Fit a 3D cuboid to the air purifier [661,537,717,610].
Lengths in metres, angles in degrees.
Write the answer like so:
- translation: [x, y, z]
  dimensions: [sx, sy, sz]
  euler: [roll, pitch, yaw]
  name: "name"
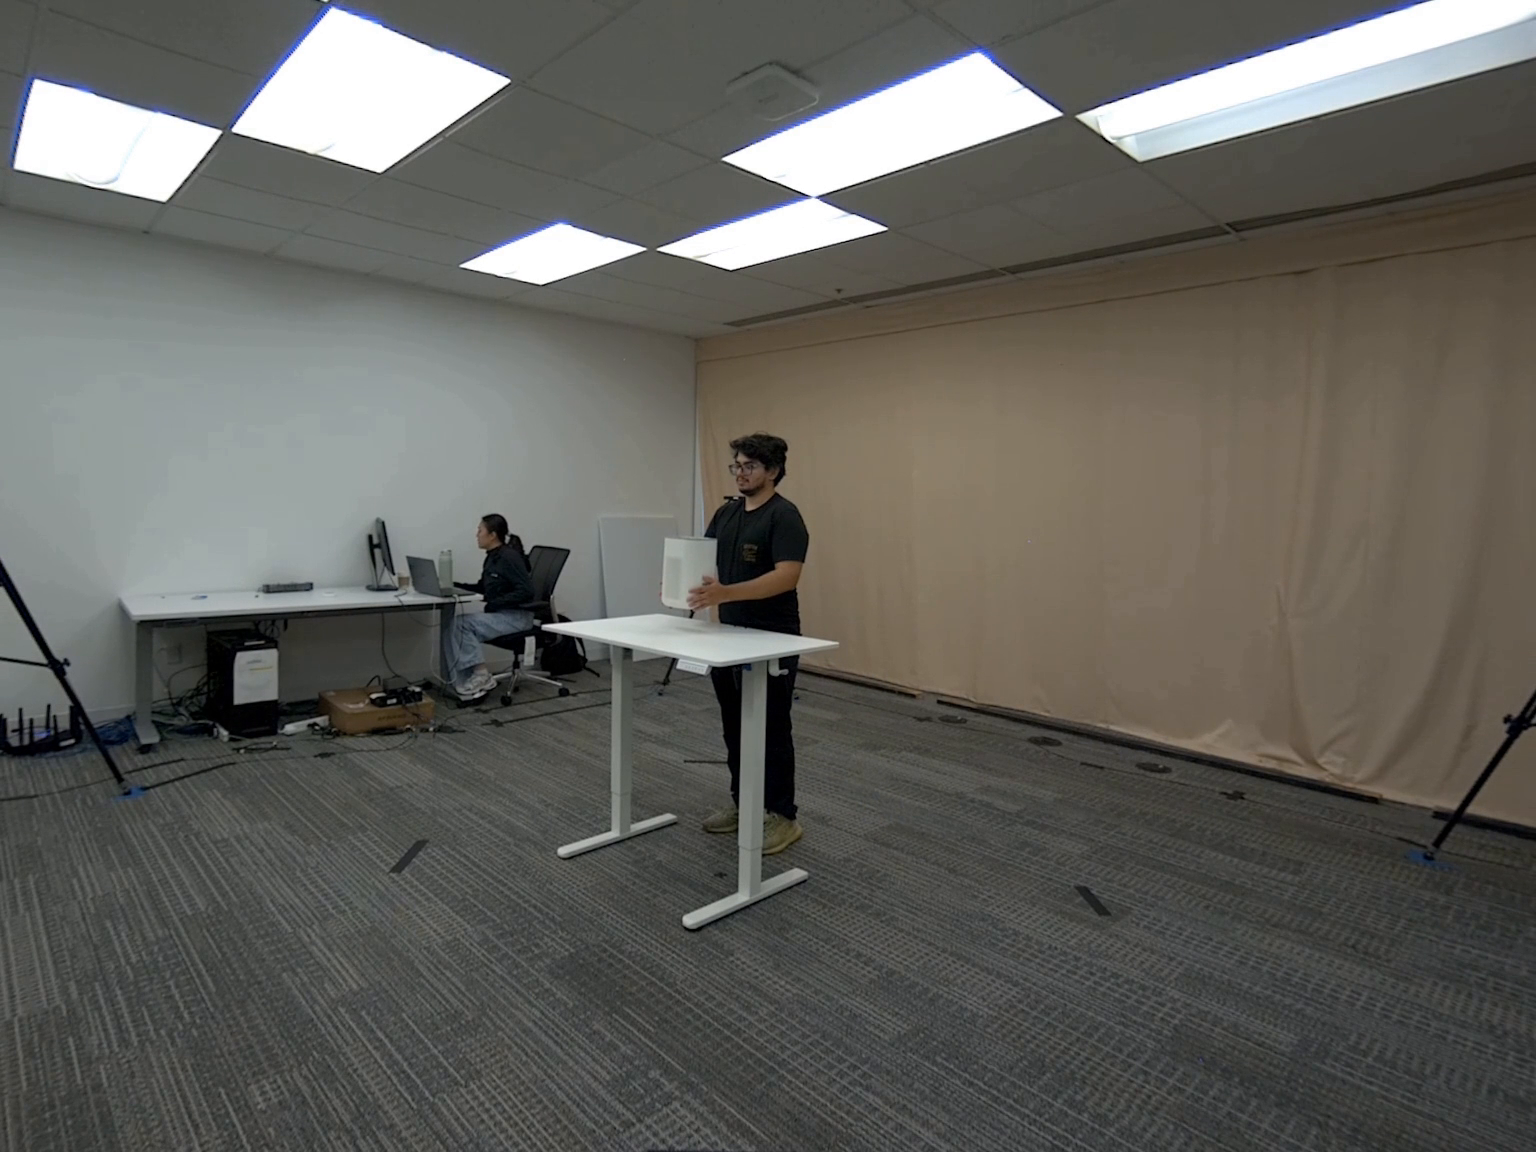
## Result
- translation: [-0.305, -0.016, 3.201]
  dimensions: [0.176, 0.265, 0.167]
  euler: [2, 2, 39]
  name: "air purifier"
